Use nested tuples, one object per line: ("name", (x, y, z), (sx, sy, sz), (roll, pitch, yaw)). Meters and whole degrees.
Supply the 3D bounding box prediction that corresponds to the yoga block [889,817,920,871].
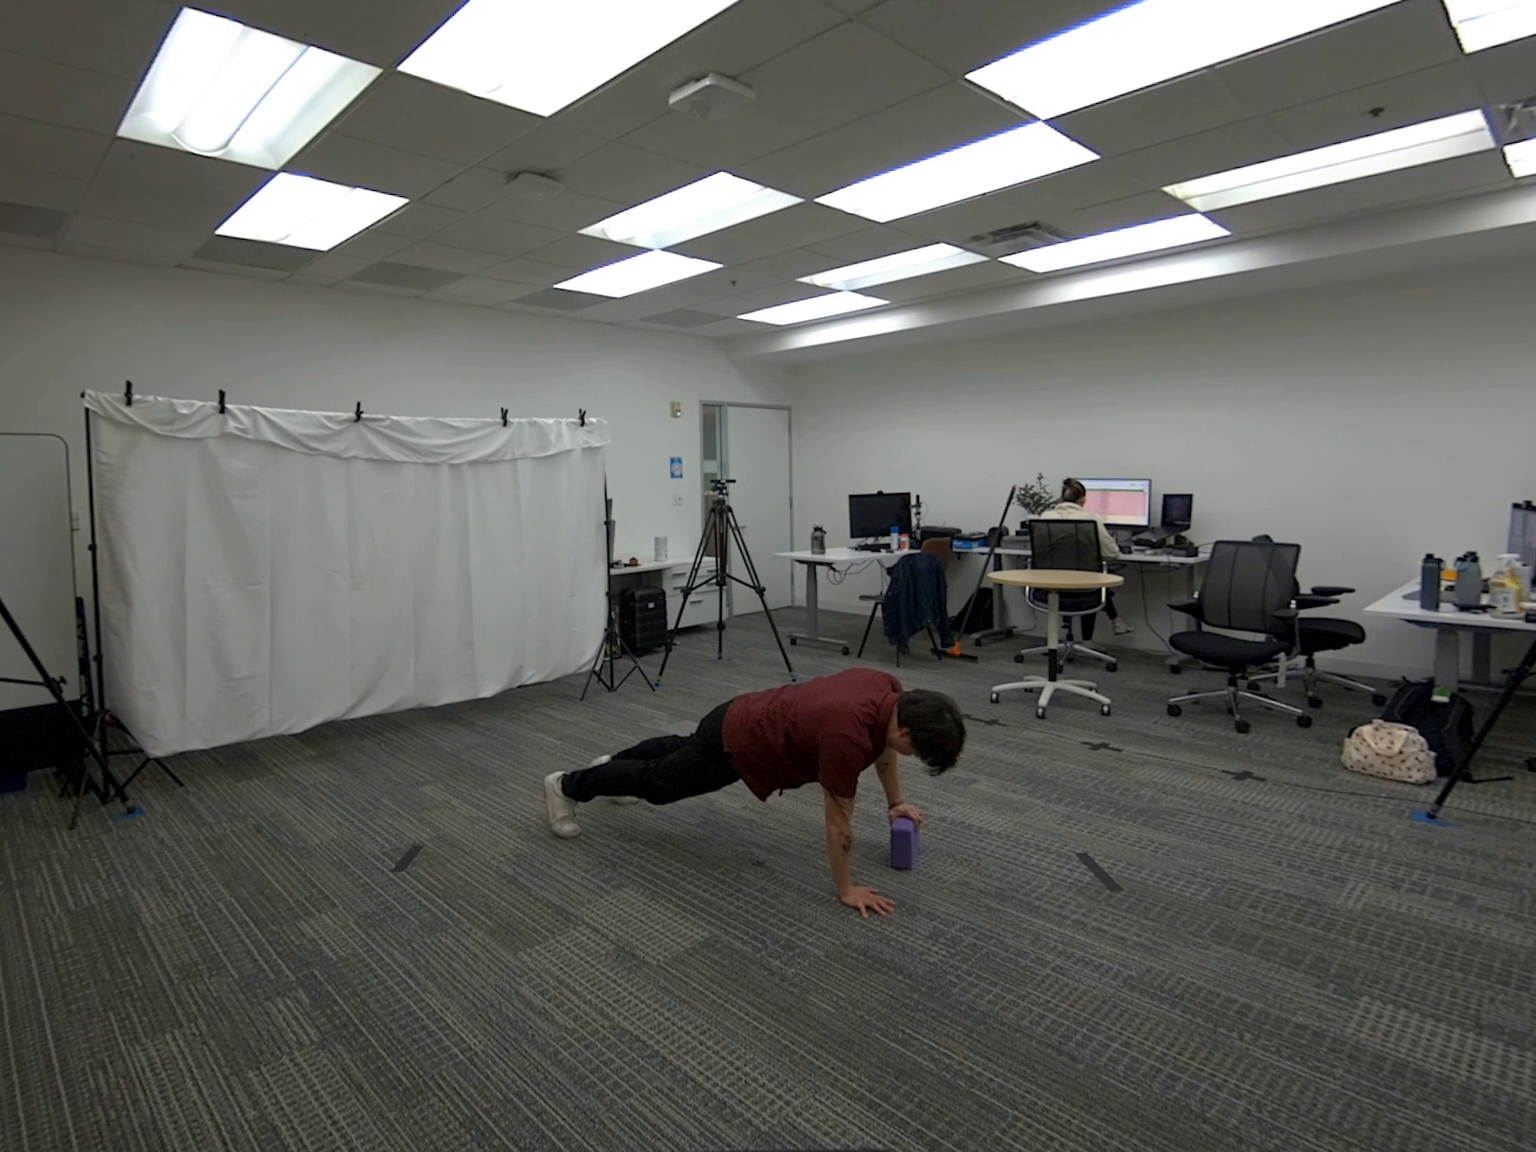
("yoga block", (0.497, 0.951, 3.140), (0.078, 0.148, 0.226), (-1, 6, 17))
